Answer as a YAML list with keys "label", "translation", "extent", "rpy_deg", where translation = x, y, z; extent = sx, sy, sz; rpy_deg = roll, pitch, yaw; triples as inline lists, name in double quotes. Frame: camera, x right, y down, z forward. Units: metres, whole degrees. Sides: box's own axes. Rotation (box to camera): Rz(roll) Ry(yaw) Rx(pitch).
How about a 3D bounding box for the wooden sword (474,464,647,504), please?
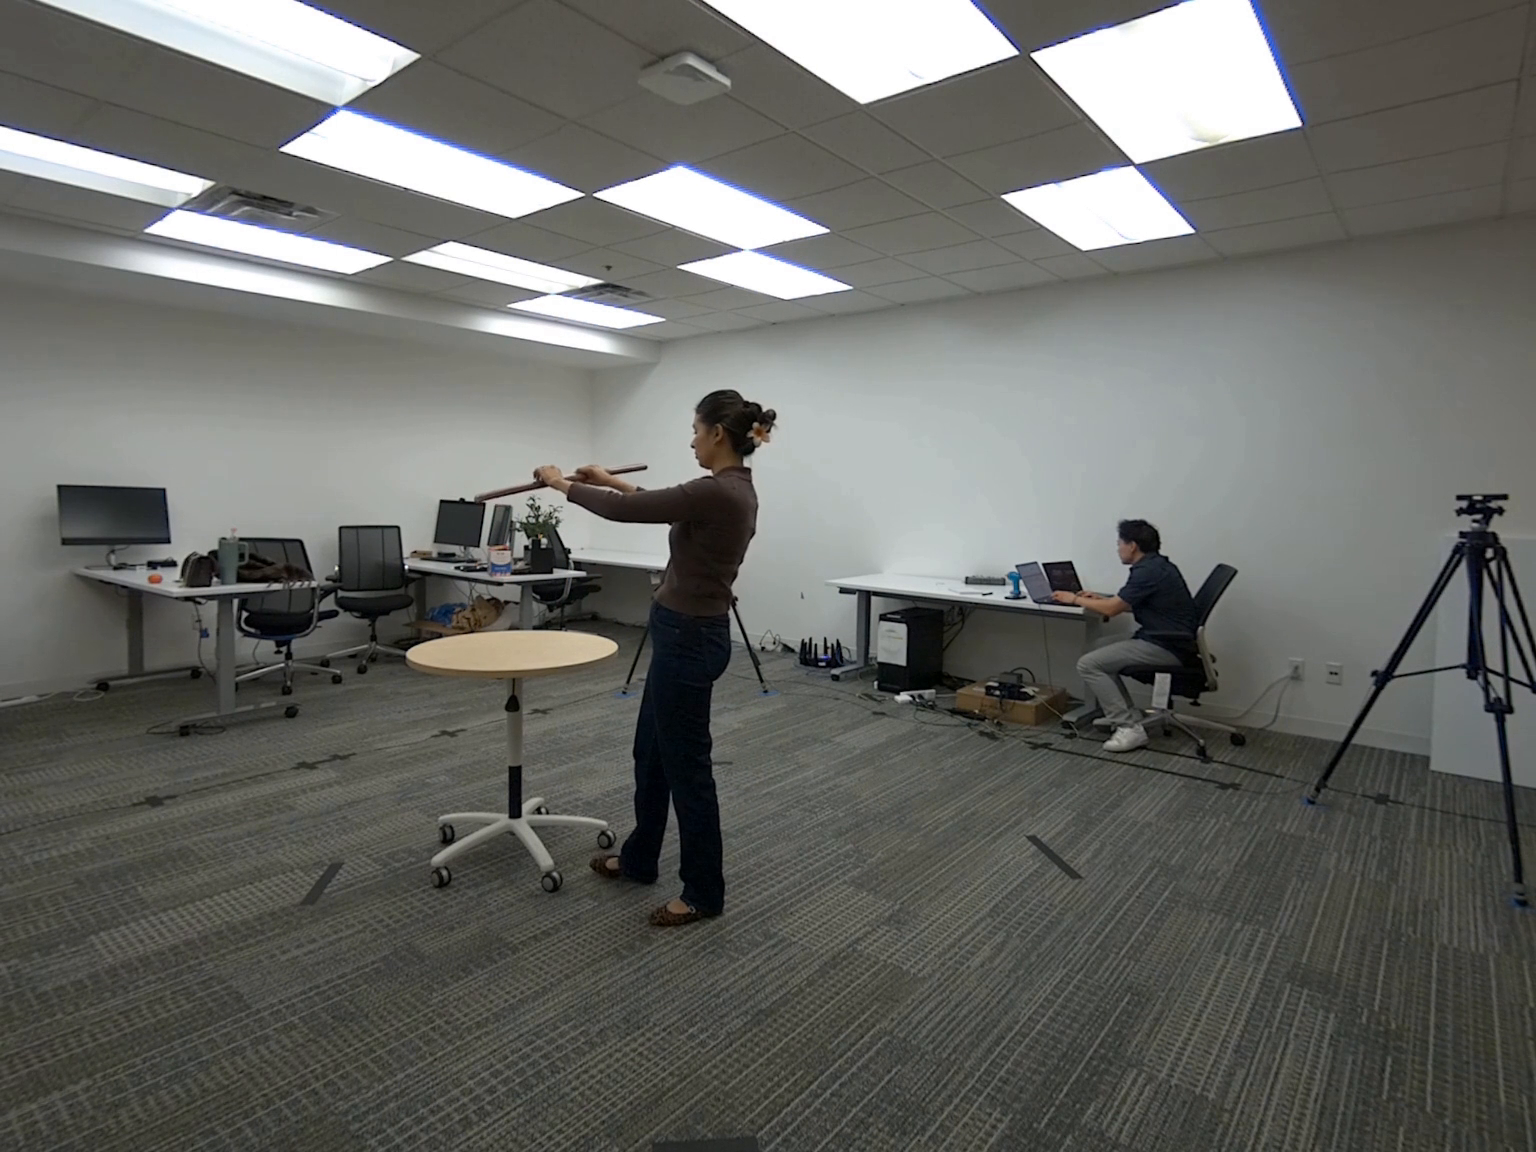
- label: "wooden sword"
  translation: [-0.676, -0.327, 2.873]
  extent: [0.024, 0.051, 1.012]
  rpy_deg: [19, 20, 17]
